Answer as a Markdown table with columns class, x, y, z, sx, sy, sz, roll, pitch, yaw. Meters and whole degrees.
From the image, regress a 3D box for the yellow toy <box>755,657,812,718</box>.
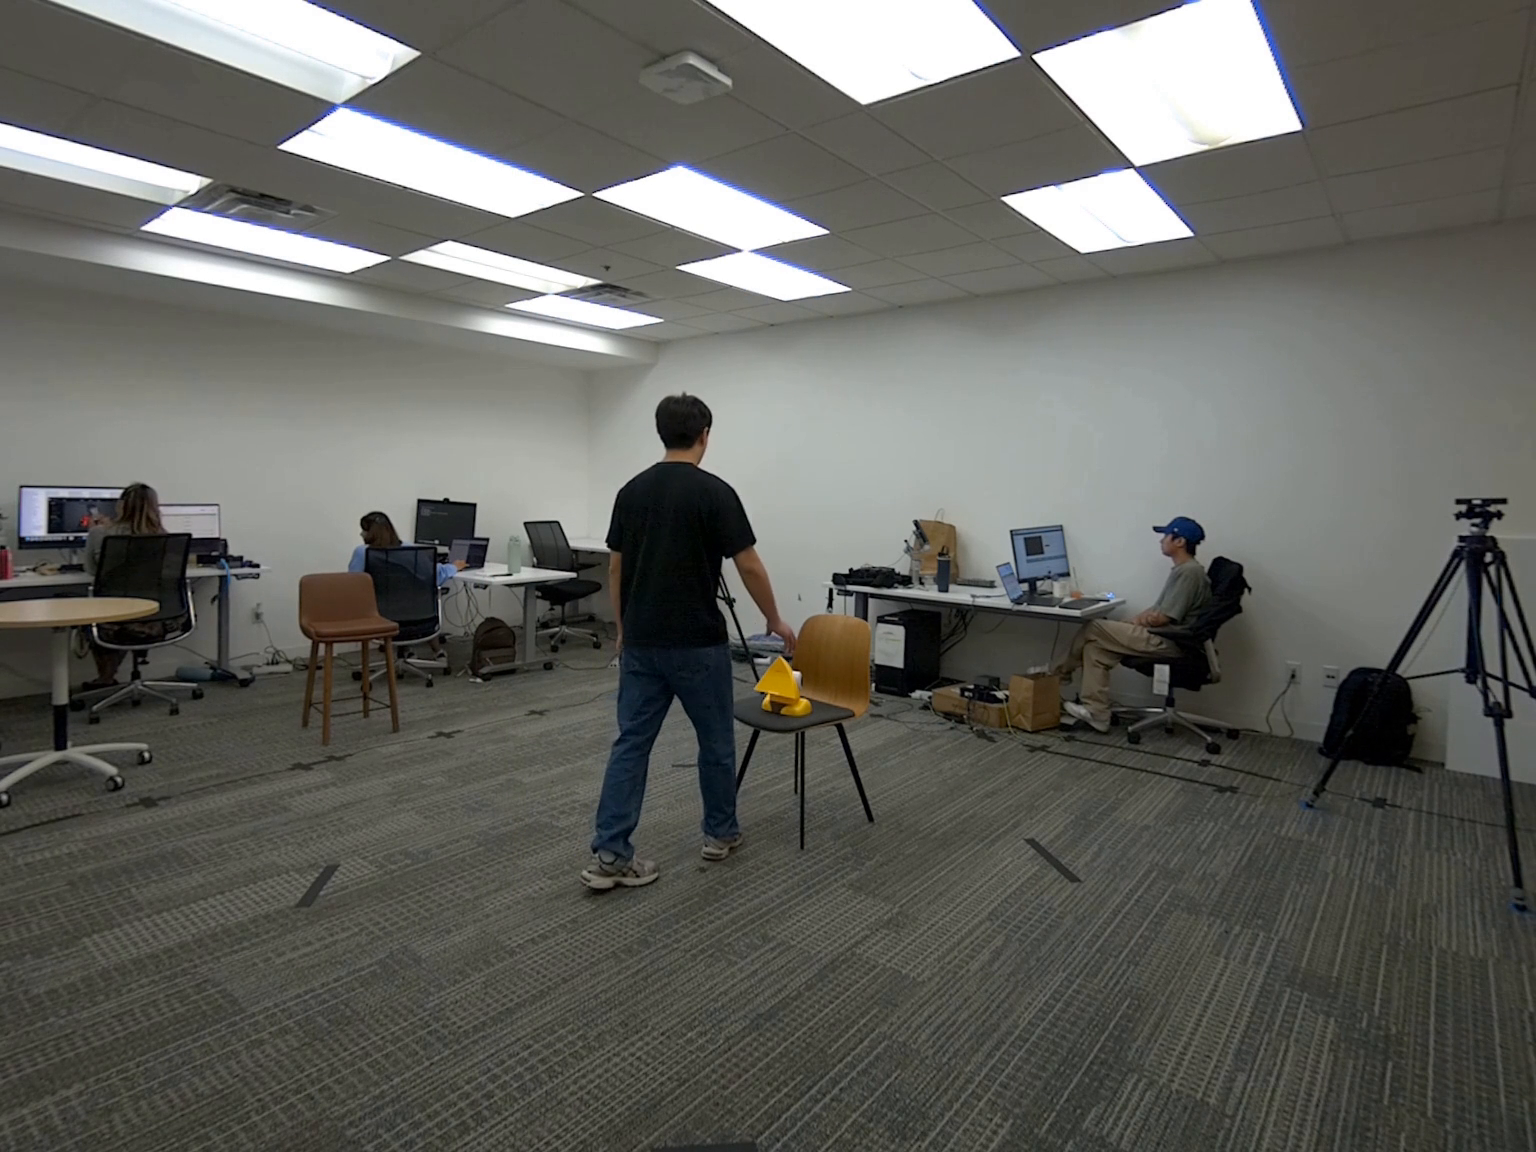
| class | x | y | z | sx | sy | sz | roll | pitch | yaw |
| --- | --- | --- | --- | --- | --- | --- | --- | --- | --- |
| yellow toy | 0.073 | 0.438 | 3.530 | 0.211 | 0.230 | 0.187 | 5 | 3 | 37 |
